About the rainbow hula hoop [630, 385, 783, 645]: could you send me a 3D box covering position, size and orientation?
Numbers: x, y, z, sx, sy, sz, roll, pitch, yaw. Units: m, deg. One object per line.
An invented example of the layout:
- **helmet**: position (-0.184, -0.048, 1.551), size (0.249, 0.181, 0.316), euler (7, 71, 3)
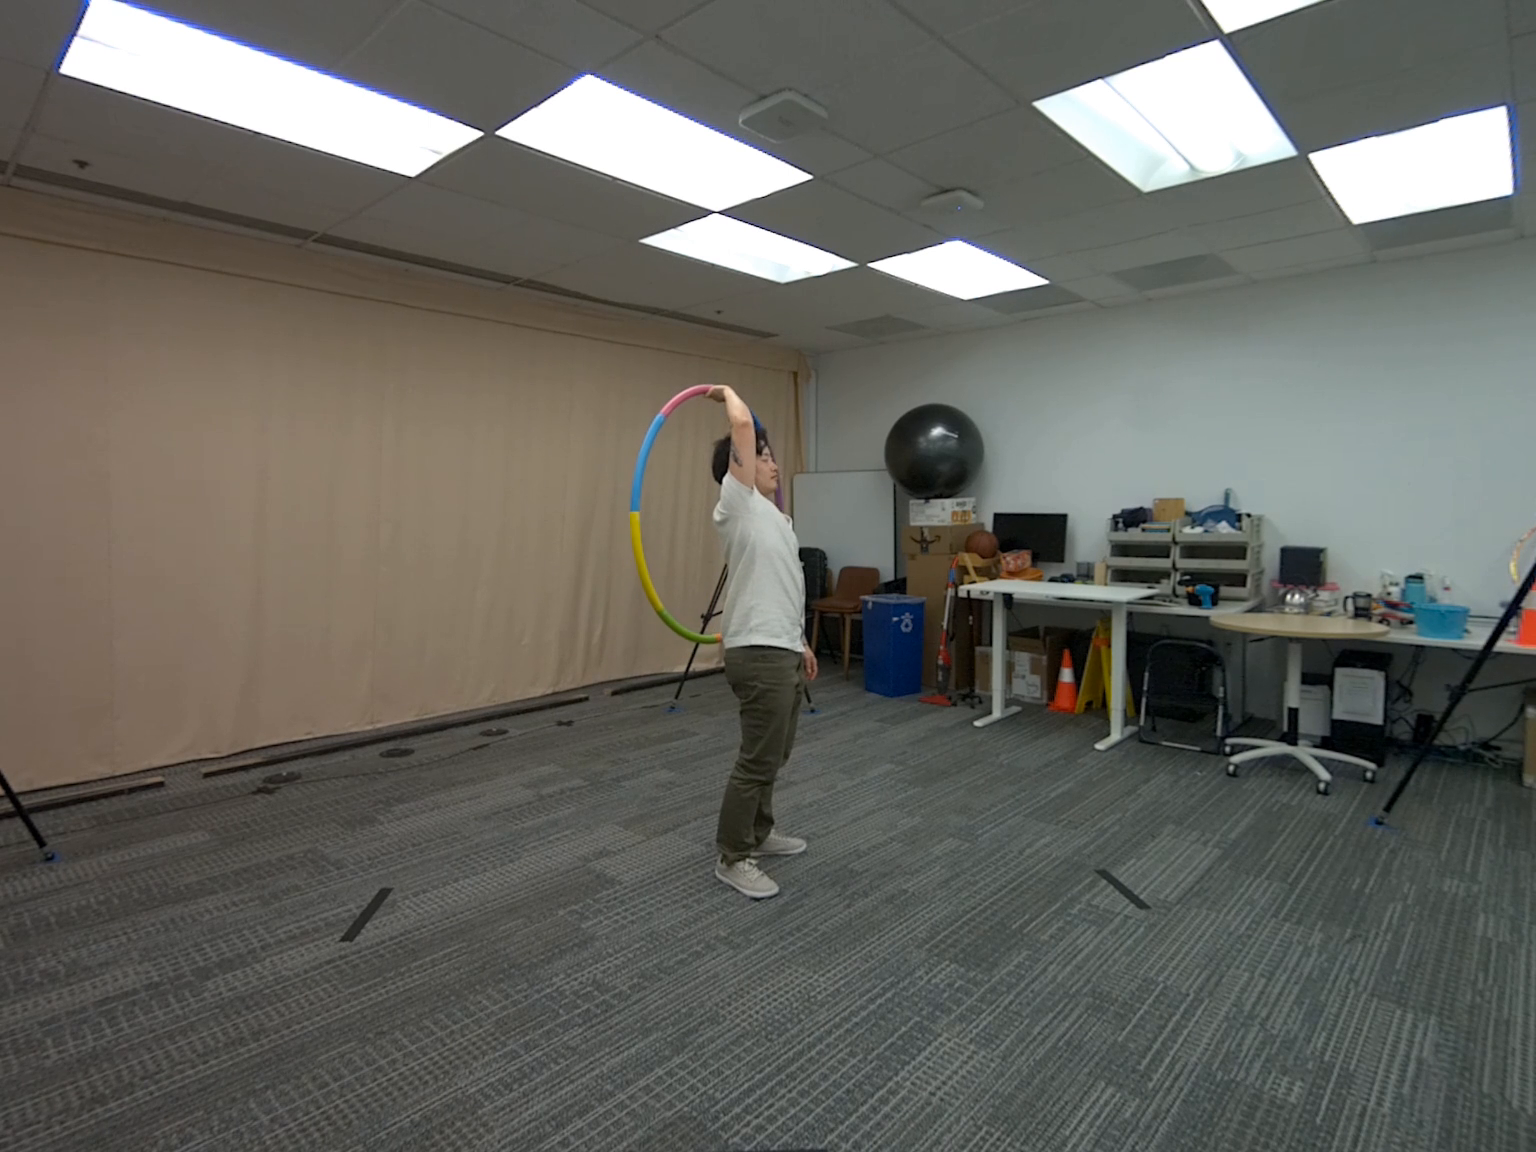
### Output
- **rainbow hula hoop**: position (-0.198, -0.233, 3.252), size (0.036, 0.977, 0.951), euler (1, 4, 33)
